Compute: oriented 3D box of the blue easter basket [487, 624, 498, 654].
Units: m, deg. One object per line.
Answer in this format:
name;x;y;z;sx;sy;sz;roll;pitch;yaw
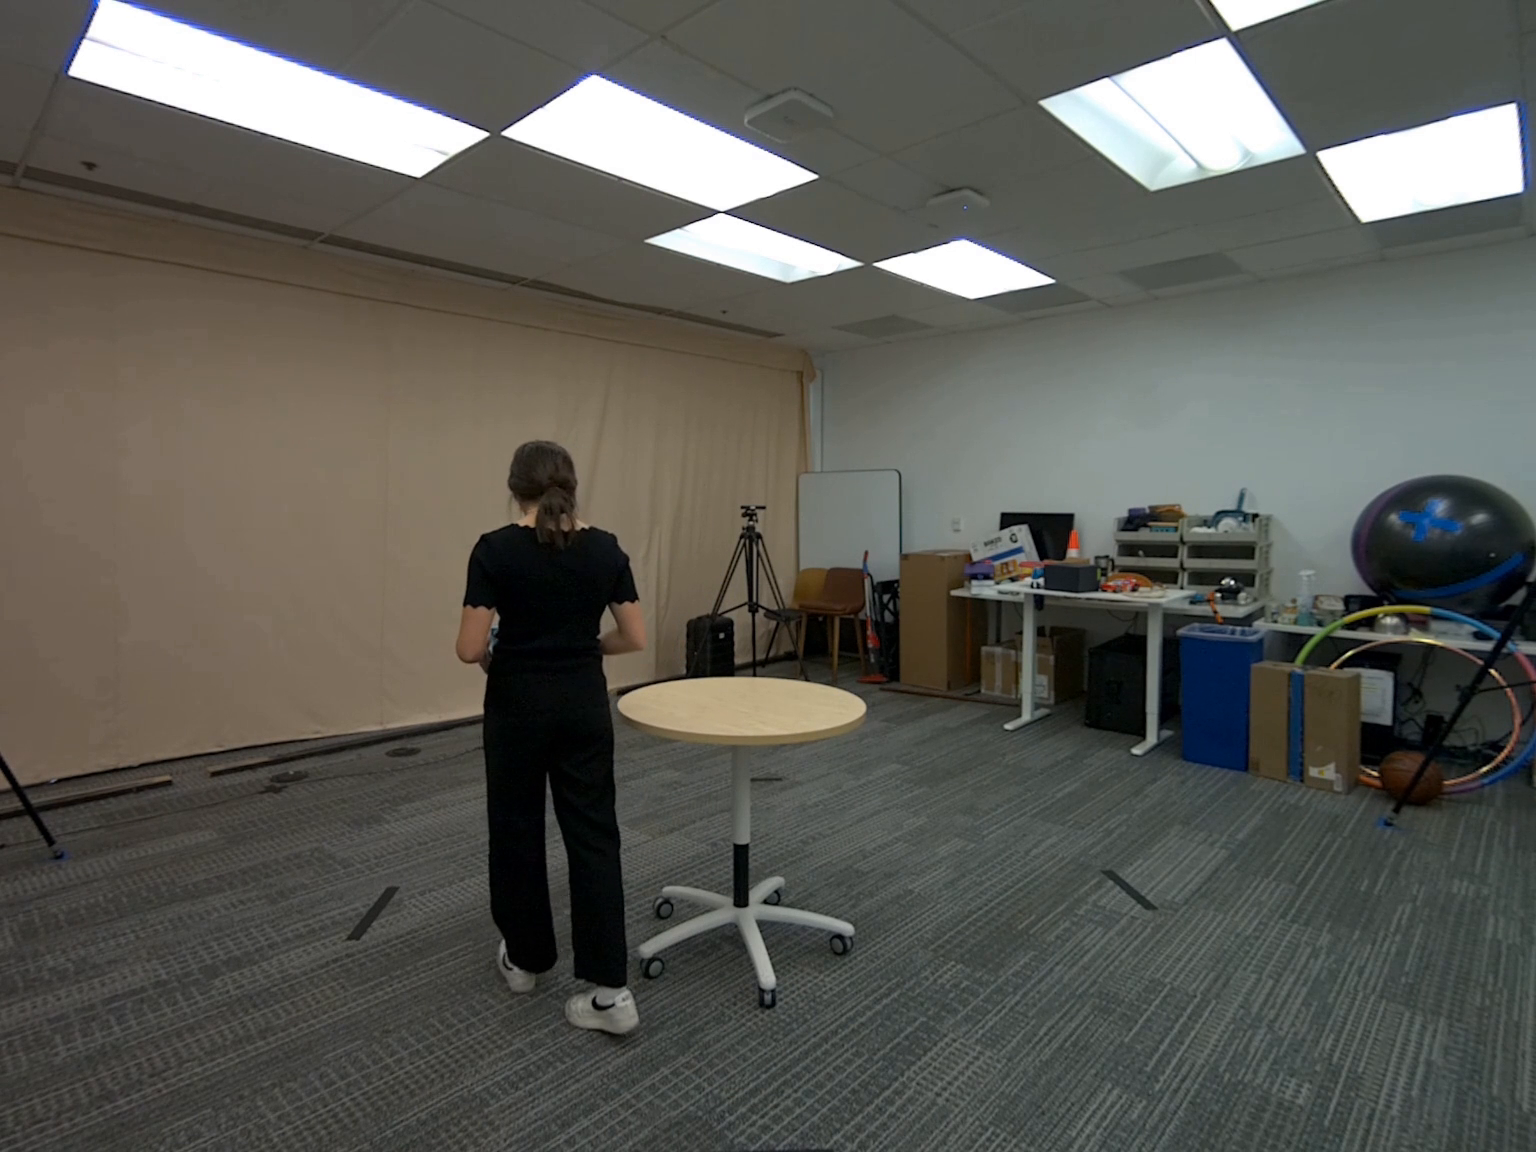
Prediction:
blue easter basket;-0.756;0.235;2.574;0.243;0.156;0.244;-1;0;-2
